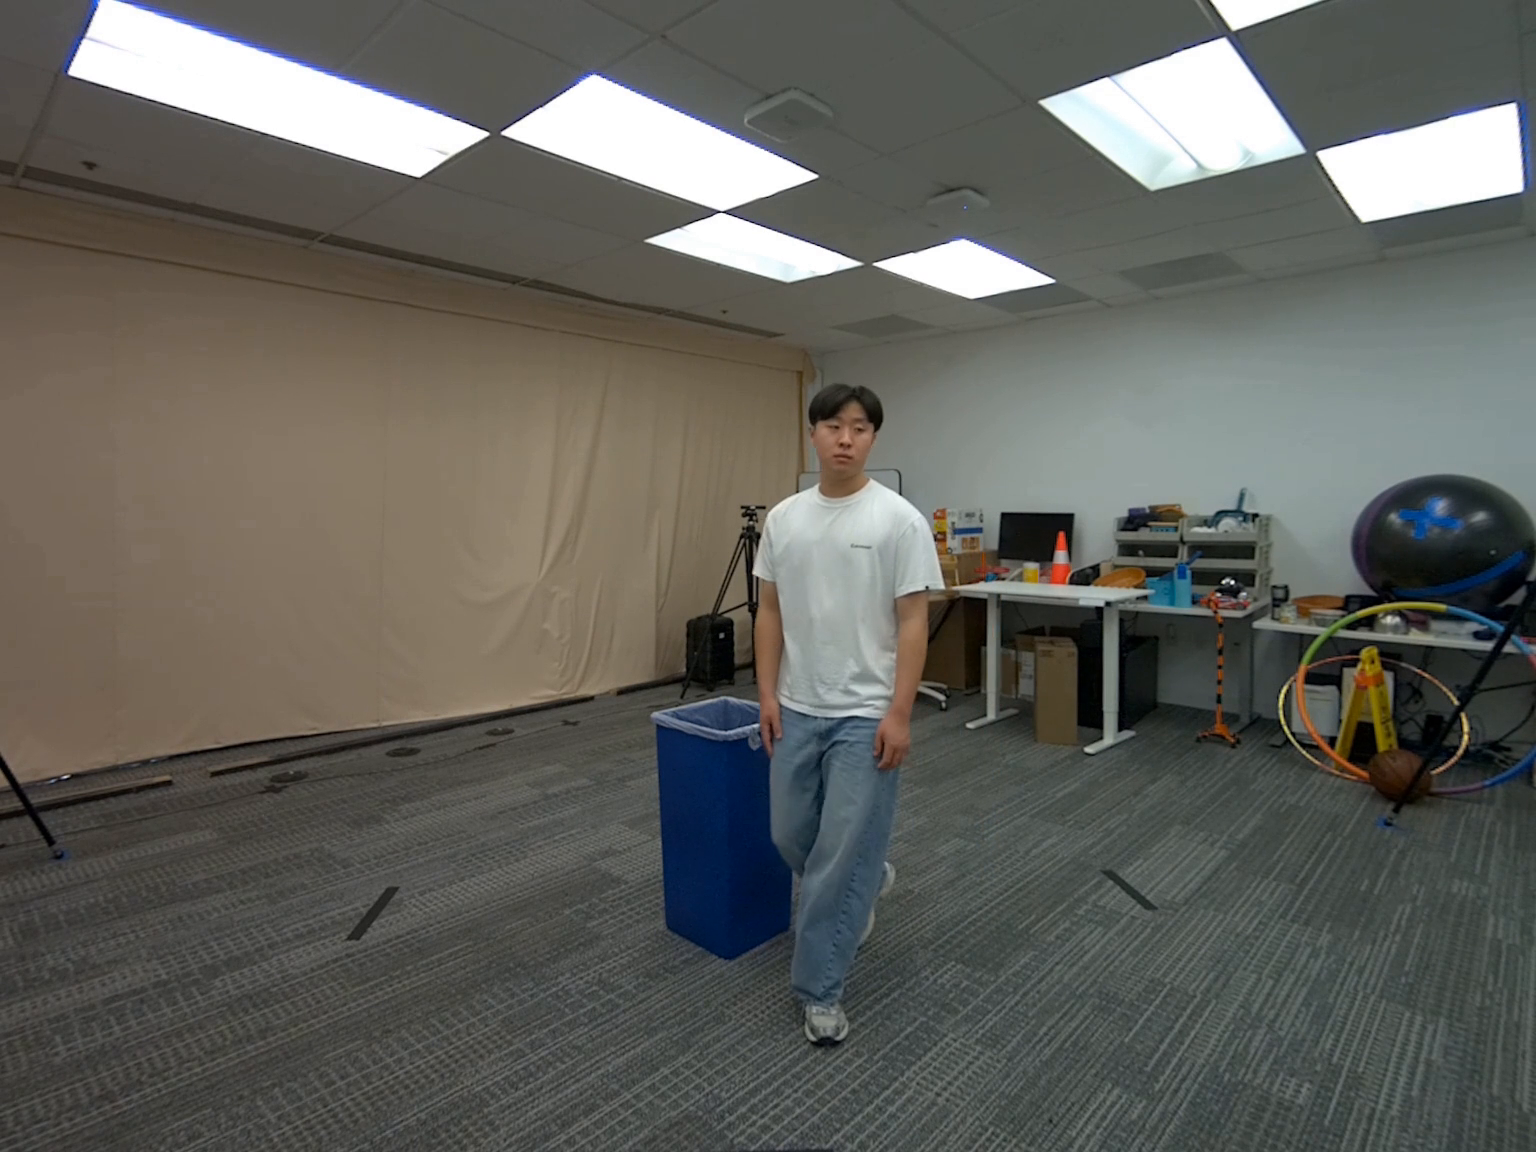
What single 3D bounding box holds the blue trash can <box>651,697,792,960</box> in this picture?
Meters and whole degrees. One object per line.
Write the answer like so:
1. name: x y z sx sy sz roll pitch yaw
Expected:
1. blue trash can: -0.140 0.804 2.769 0.386 0.712 0.366 3 4 43
